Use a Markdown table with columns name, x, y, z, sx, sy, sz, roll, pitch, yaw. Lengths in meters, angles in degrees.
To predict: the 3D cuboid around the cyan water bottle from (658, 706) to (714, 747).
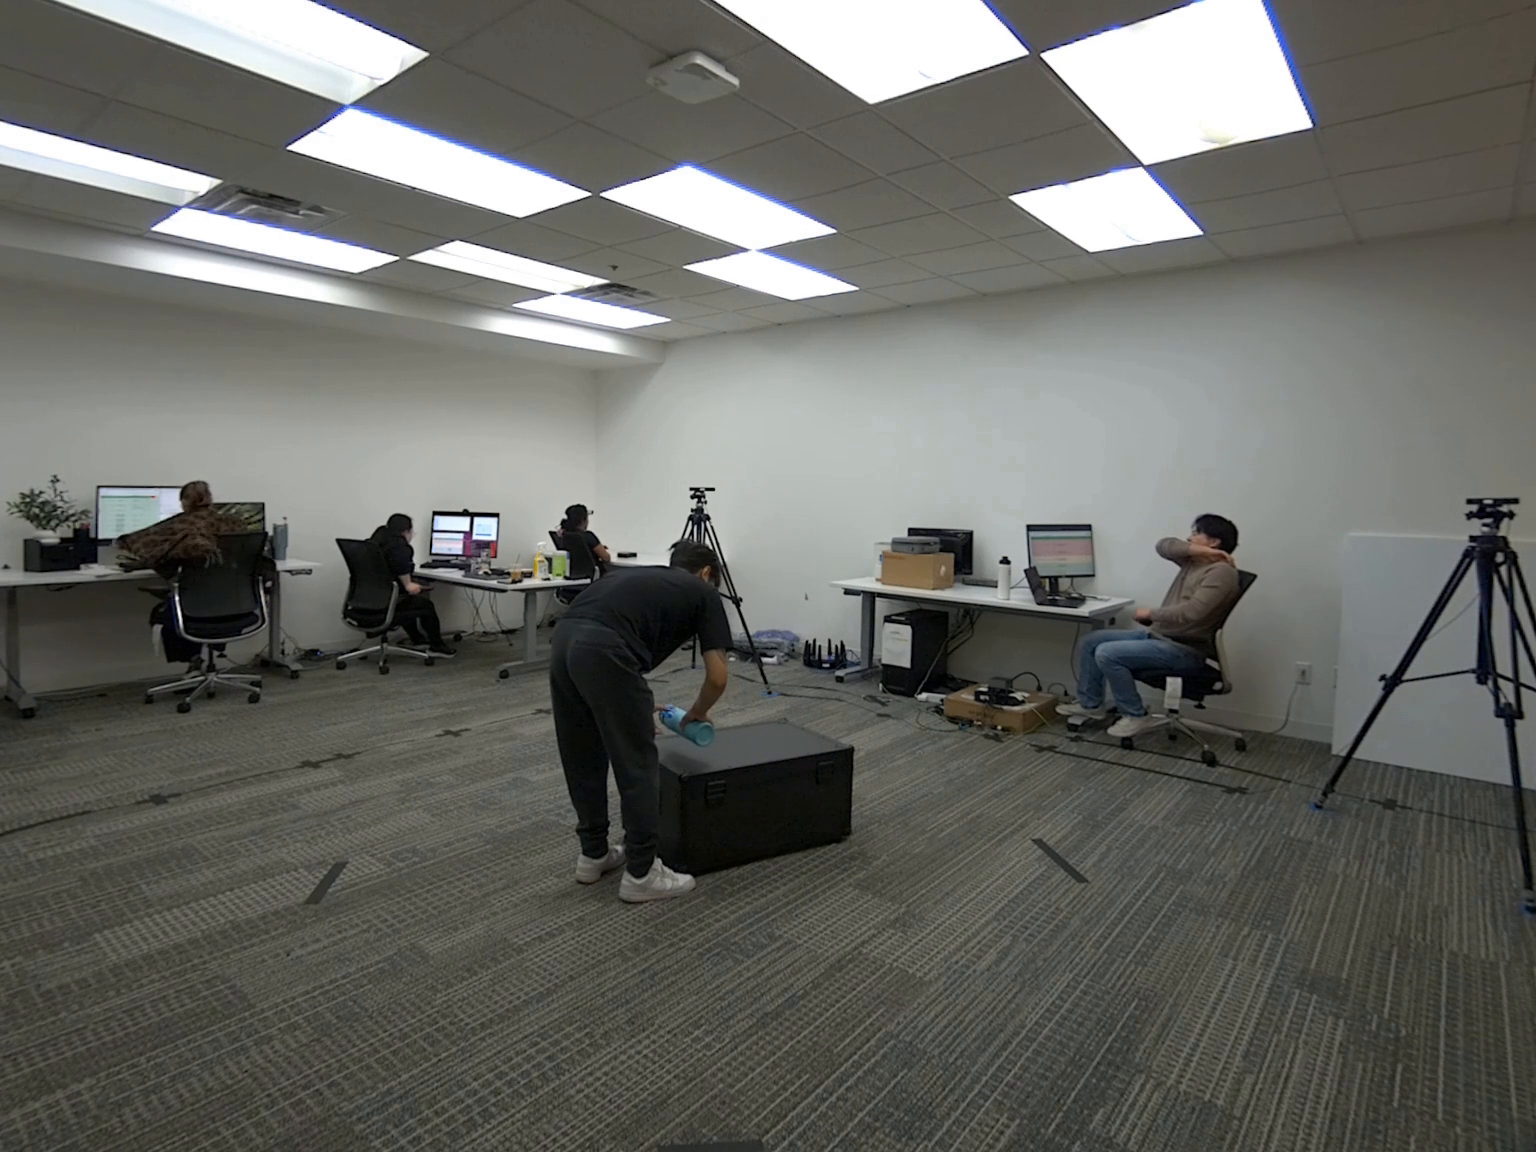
| name | x | y | z | sx | sy | sz | roll | pitch | yaw |
| --- | --- | --- | --- | --- | --- | --- | --- | --- | --- |
| cyan water bottle | -0.327 | 0.568 | 3.272 | 0.089 | 0.091 | 0.294 | -2 | 12 | -38 |
